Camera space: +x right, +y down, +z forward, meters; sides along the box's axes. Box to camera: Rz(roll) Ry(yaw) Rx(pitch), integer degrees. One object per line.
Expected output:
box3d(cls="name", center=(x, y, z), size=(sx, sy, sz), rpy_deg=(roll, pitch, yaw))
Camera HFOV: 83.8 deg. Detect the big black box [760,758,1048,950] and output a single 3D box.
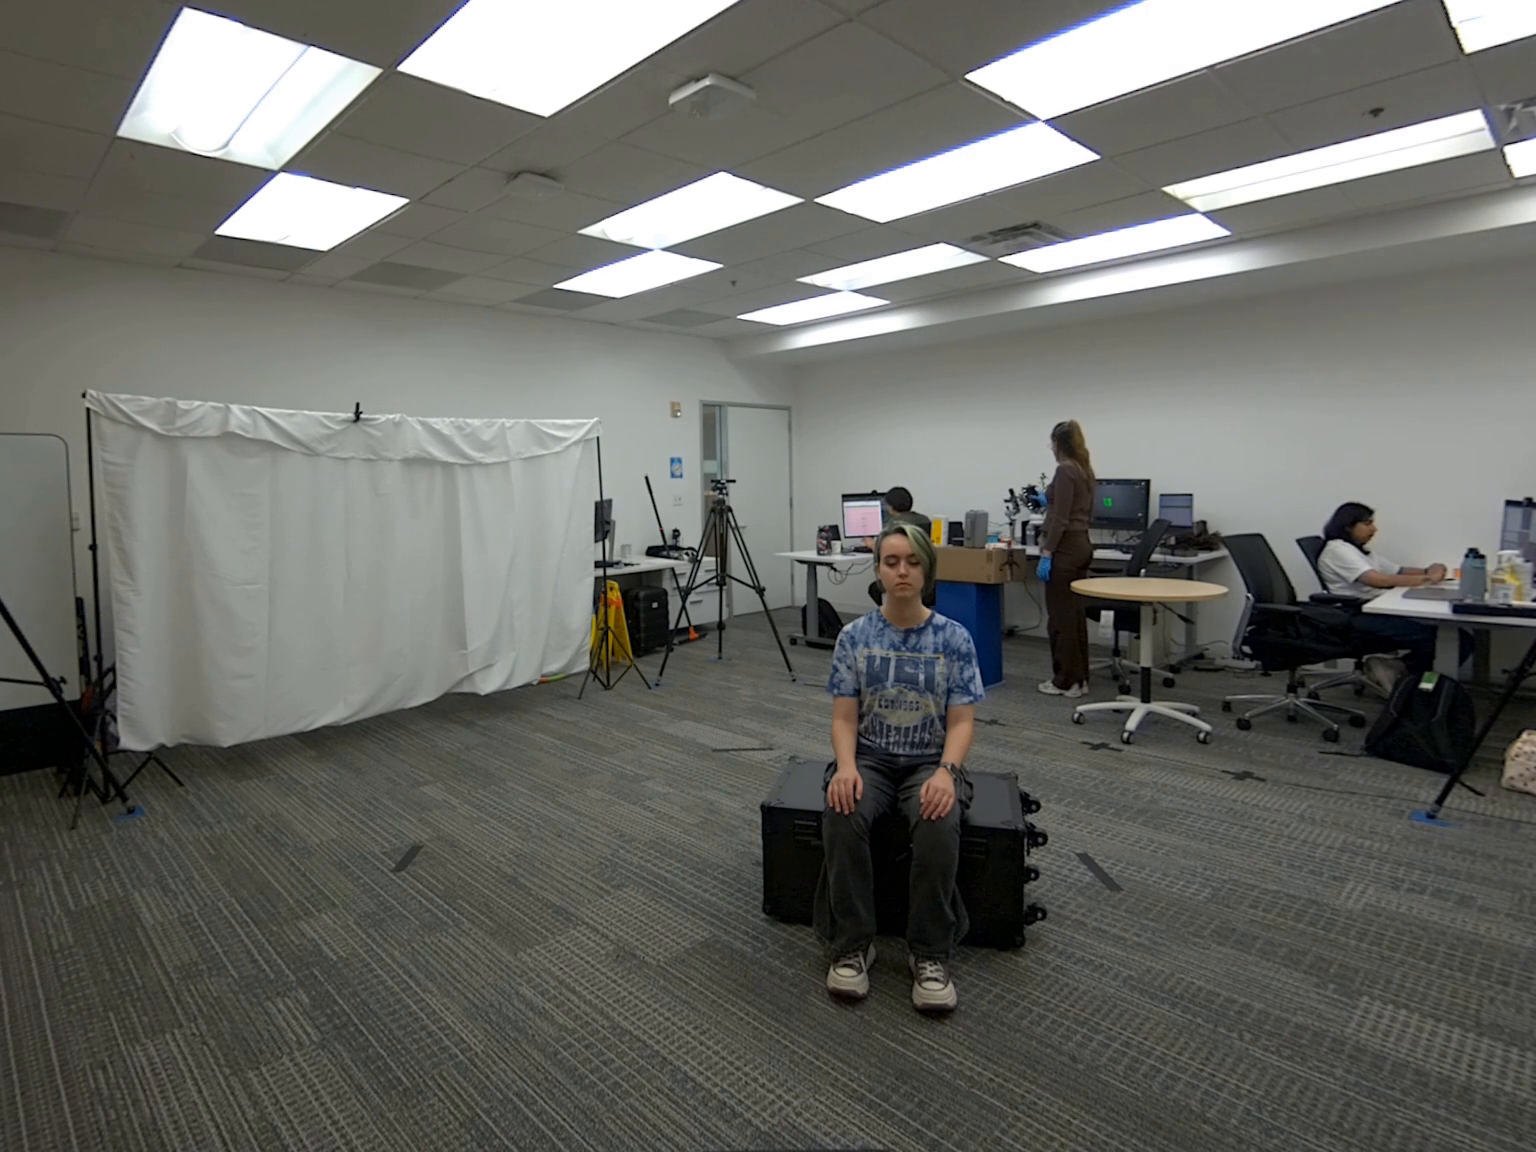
box3d(cls="big black box", center=(0.448, 0.883, 2.801), size=(0.874, 0.395, 0.516), rpy_deg=(0, 5, 15))
